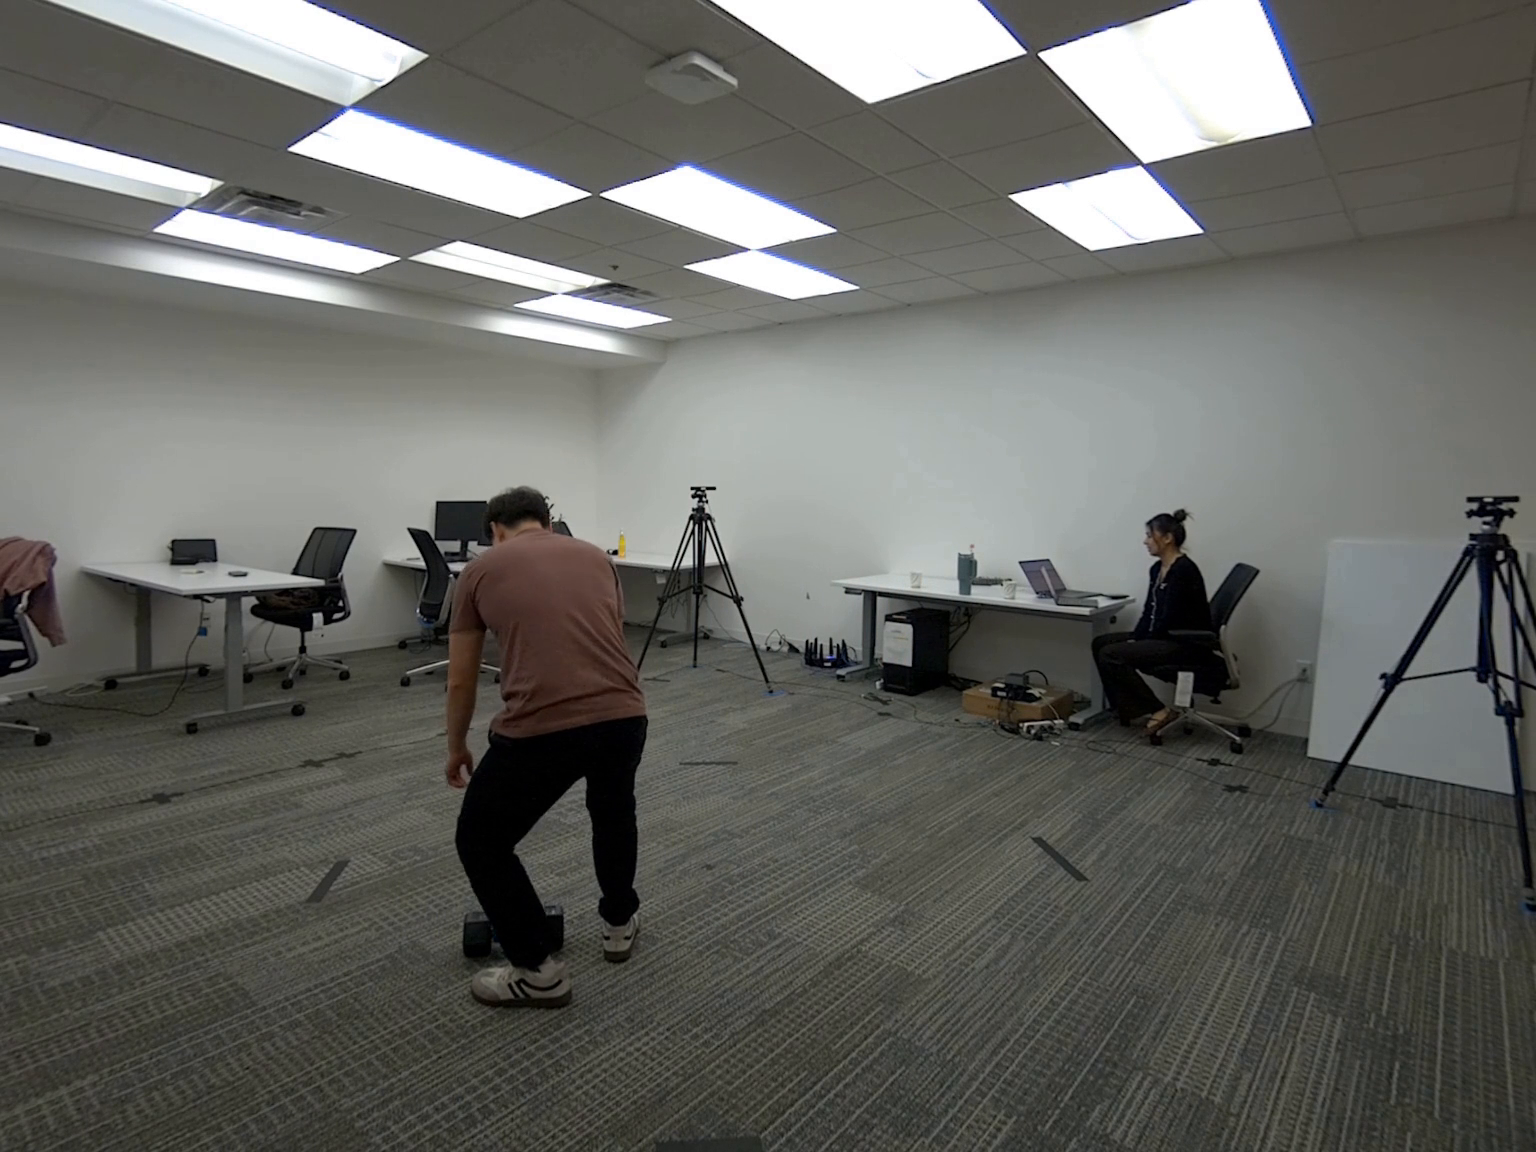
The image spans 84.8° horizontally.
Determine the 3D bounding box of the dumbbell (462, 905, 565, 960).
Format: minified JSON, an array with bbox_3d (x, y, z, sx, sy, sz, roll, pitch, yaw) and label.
[{"bbox_3d":[-0.772,1.062,2.548,0.290,0.108,0.125,1,6,-11],"label":"dumbbell"}]
